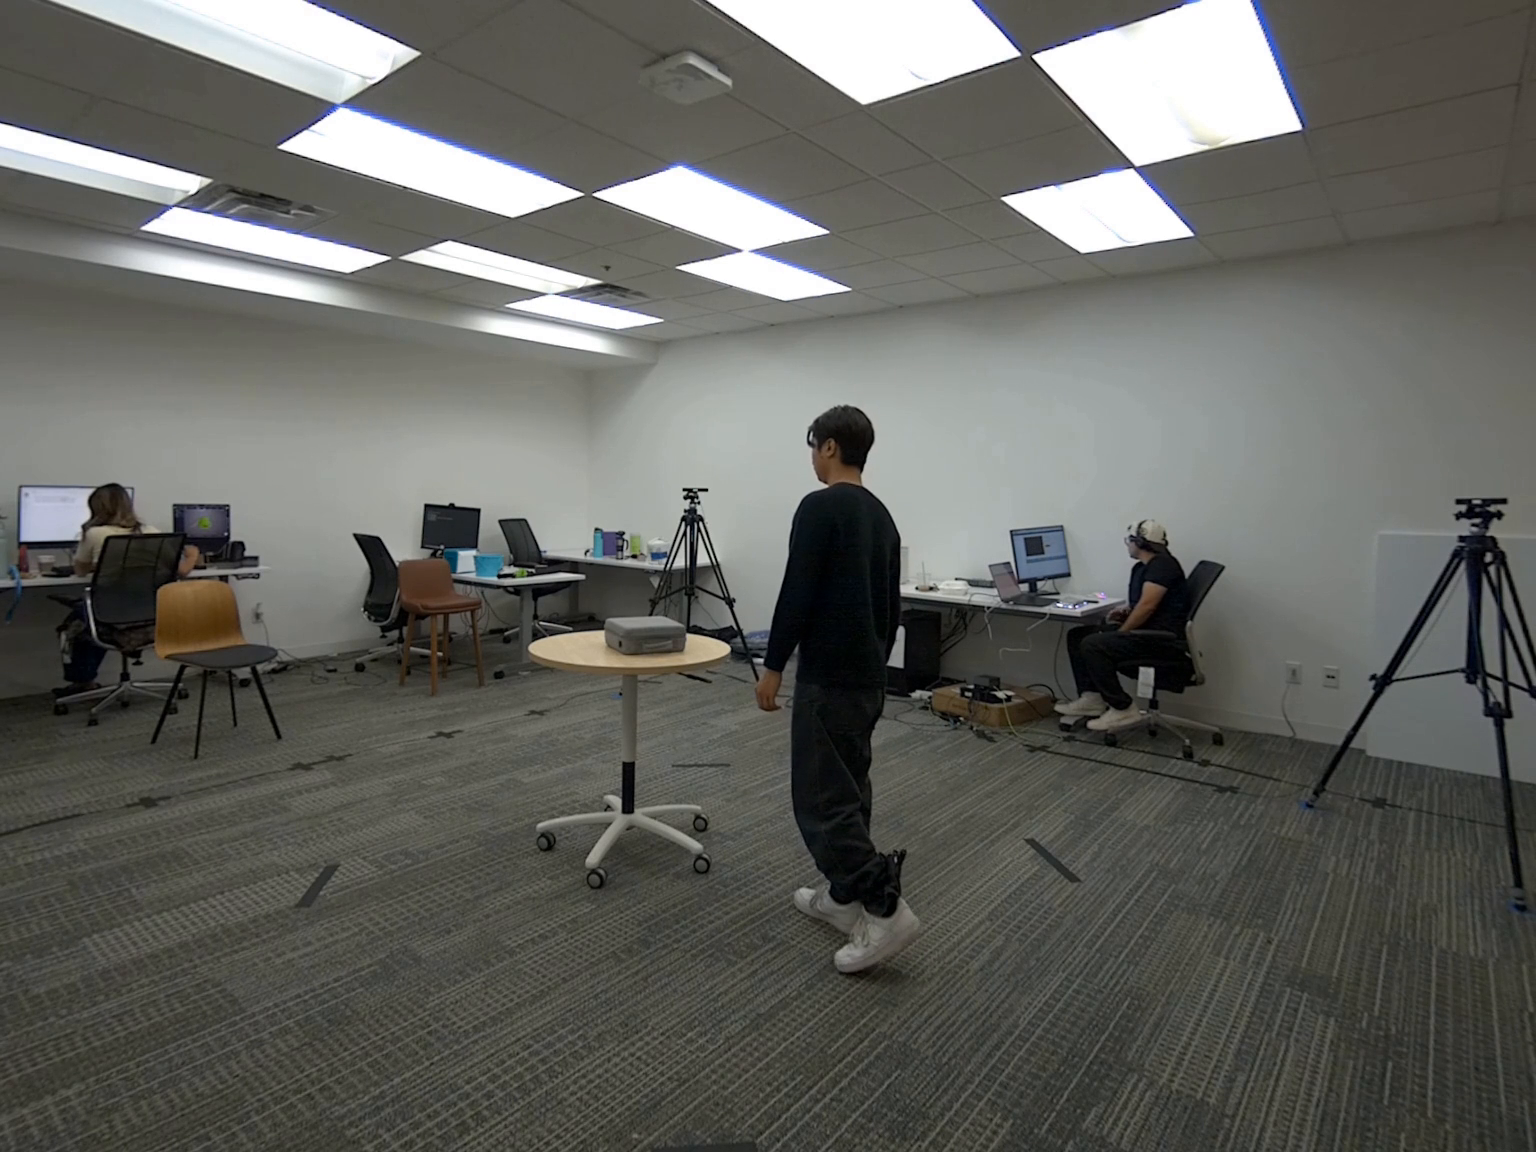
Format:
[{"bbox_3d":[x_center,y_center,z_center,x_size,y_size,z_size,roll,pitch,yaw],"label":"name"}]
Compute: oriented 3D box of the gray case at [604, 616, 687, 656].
[{"bbox_3d":[-0.472,0.218,3.212,0.250,0.104,0.268,0,6,-28],"label":"gray case"}]
